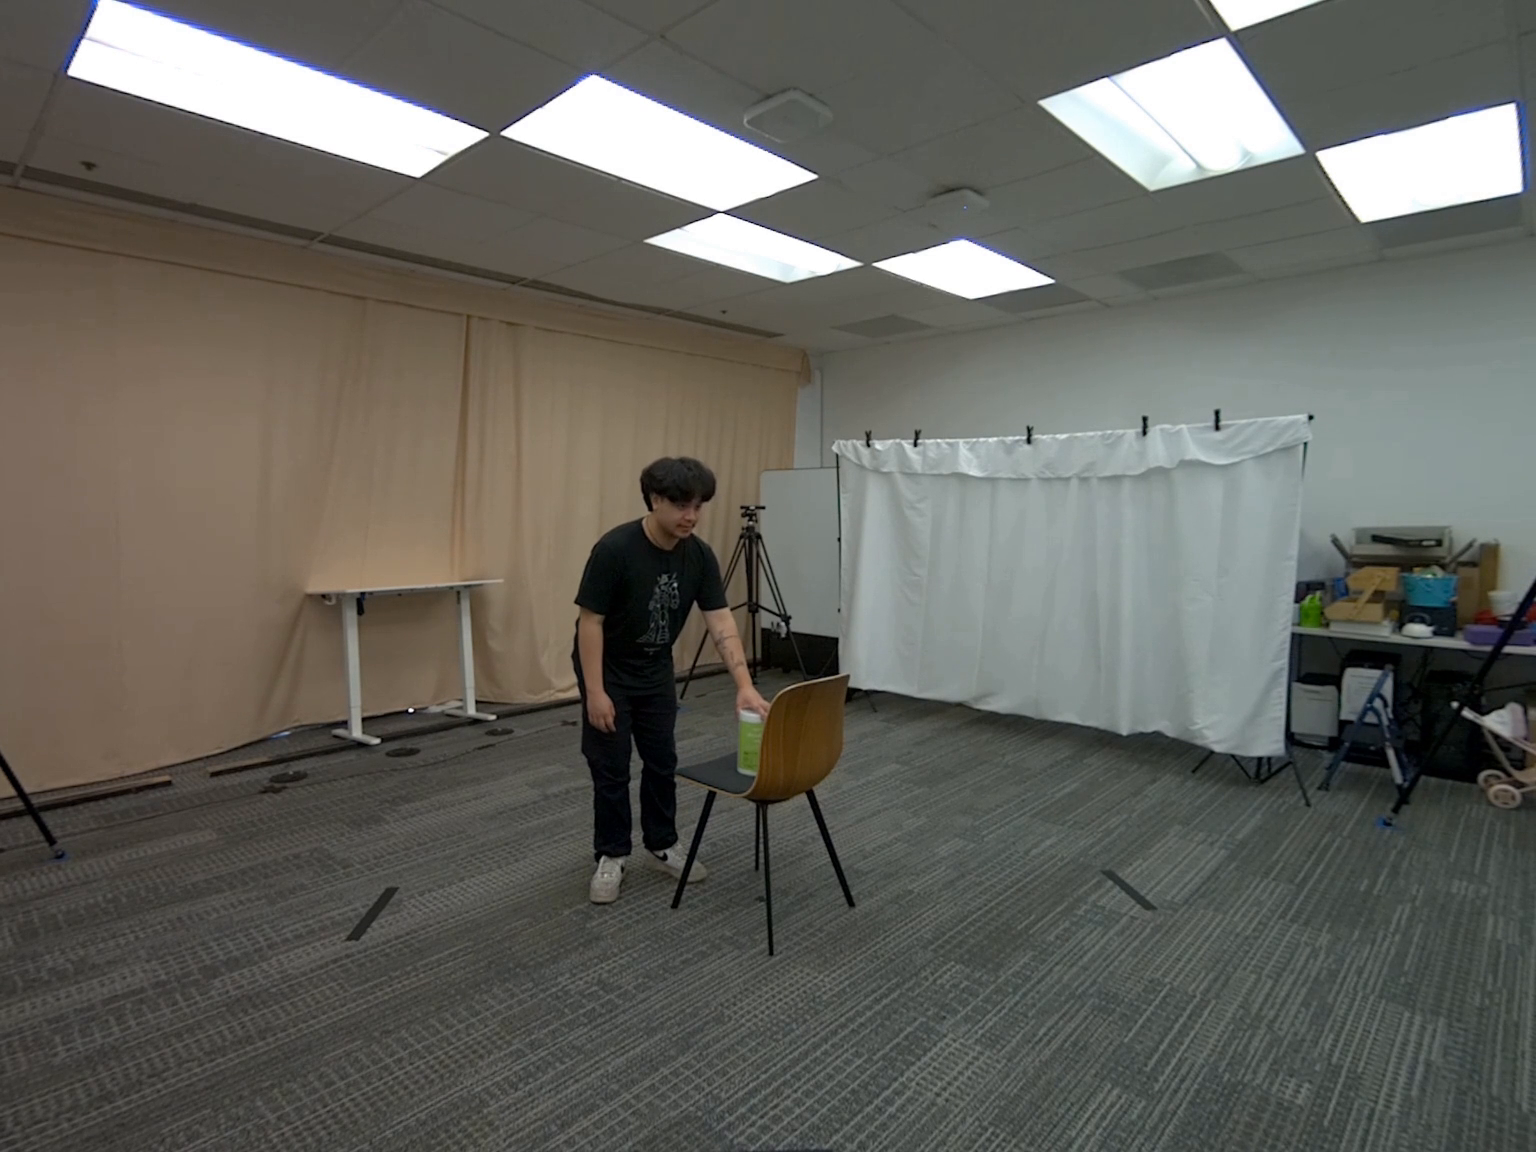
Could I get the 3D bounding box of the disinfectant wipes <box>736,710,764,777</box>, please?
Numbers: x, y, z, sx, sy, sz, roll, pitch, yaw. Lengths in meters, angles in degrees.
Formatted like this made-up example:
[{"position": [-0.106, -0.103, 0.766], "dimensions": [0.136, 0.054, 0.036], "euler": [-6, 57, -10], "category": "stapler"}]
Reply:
[{"position": [-0.047, 0.572, 2.906], "dimensions": [0.118, 0.217, 0.118], "euler": [0, 5, -2], "category": "disinfectant wipes"}]
